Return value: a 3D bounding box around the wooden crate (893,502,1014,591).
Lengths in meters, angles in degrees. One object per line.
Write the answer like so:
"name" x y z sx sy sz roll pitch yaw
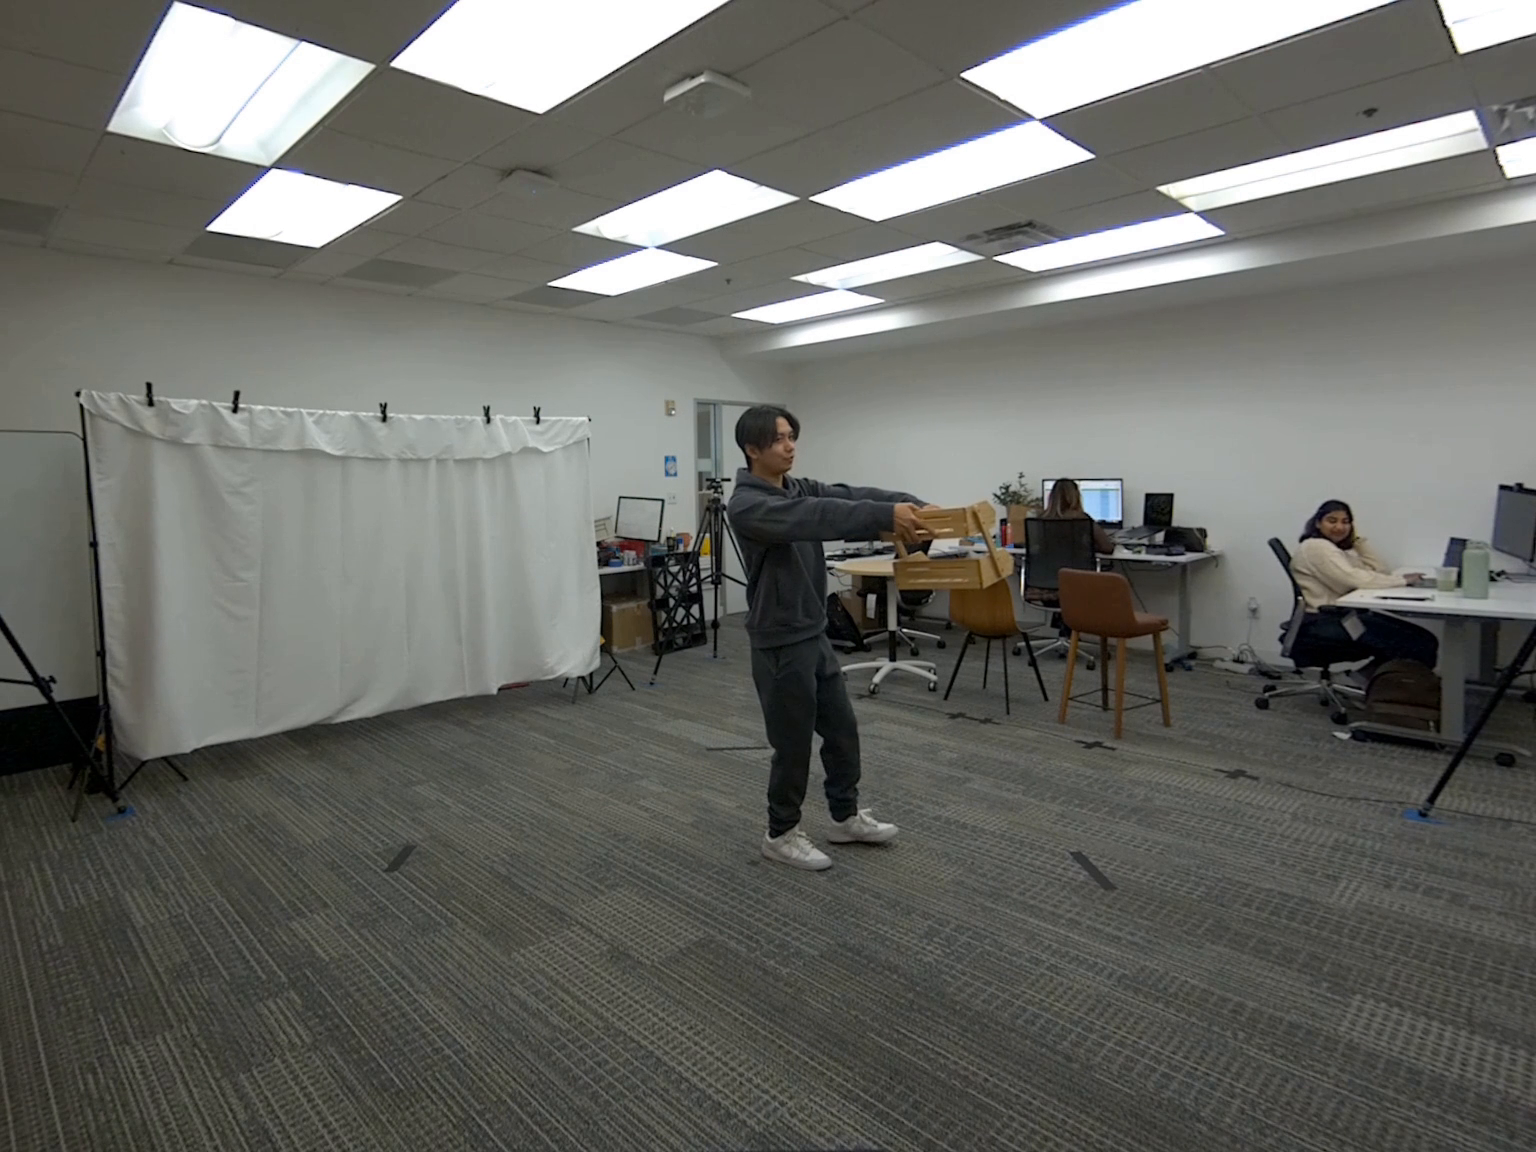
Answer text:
"wooden crate" 0.576 -0.110 2.755 0.333 0.271 0.296 -2 10 40
